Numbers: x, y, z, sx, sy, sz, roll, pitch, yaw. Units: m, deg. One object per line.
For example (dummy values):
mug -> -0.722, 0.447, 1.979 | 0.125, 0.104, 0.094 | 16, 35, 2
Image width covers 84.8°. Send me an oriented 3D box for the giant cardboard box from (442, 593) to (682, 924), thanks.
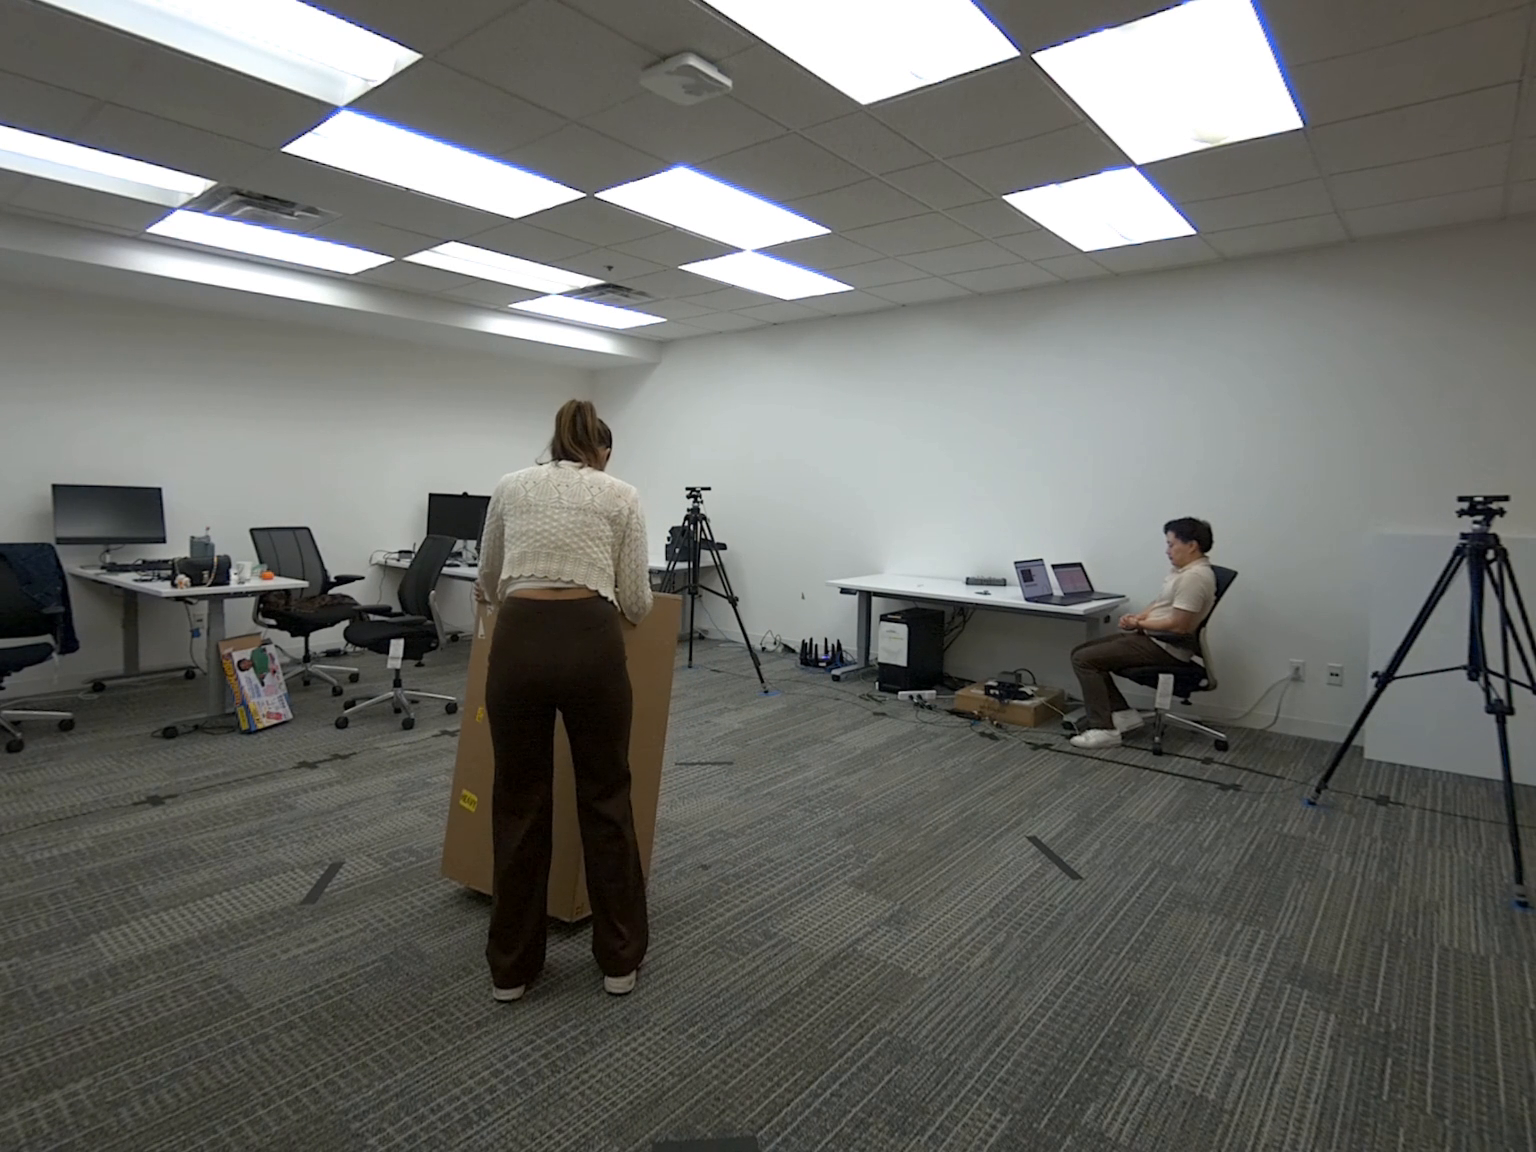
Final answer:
giant cardboard box -> -0.713, 0.545, 2.941 | 0.594, 1.030, 0.412 | 4, -5, 27
